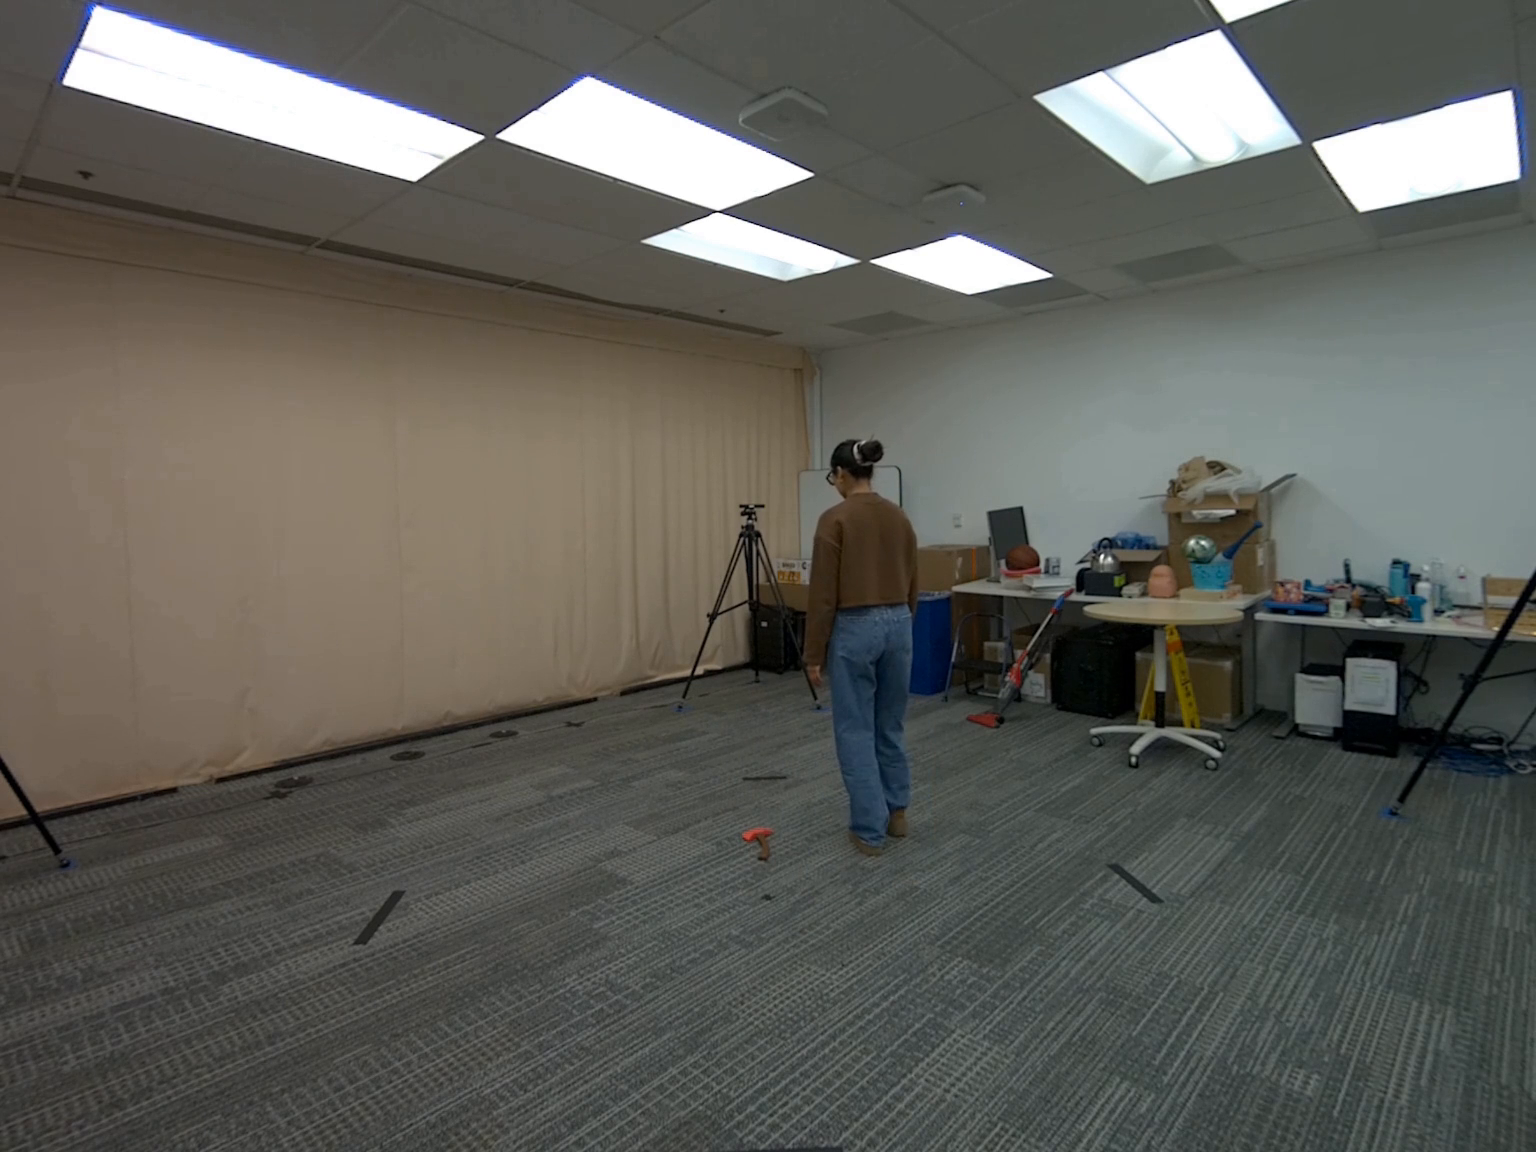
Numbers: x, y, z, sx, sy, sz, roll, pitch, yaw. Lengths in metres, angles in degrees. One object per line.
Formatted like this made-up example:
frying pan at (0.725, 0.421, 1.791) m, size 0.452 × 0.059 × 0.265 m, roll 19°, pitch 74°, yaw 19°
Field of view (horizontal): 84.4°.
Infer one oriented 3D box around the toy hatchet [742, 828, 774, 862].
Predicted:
toy hatchet at (-0.047, 1.094, 3.429) m, size 0.132 × 0.029 × 0.269 m, roll -1°, pitch 7°, yaw 6°
